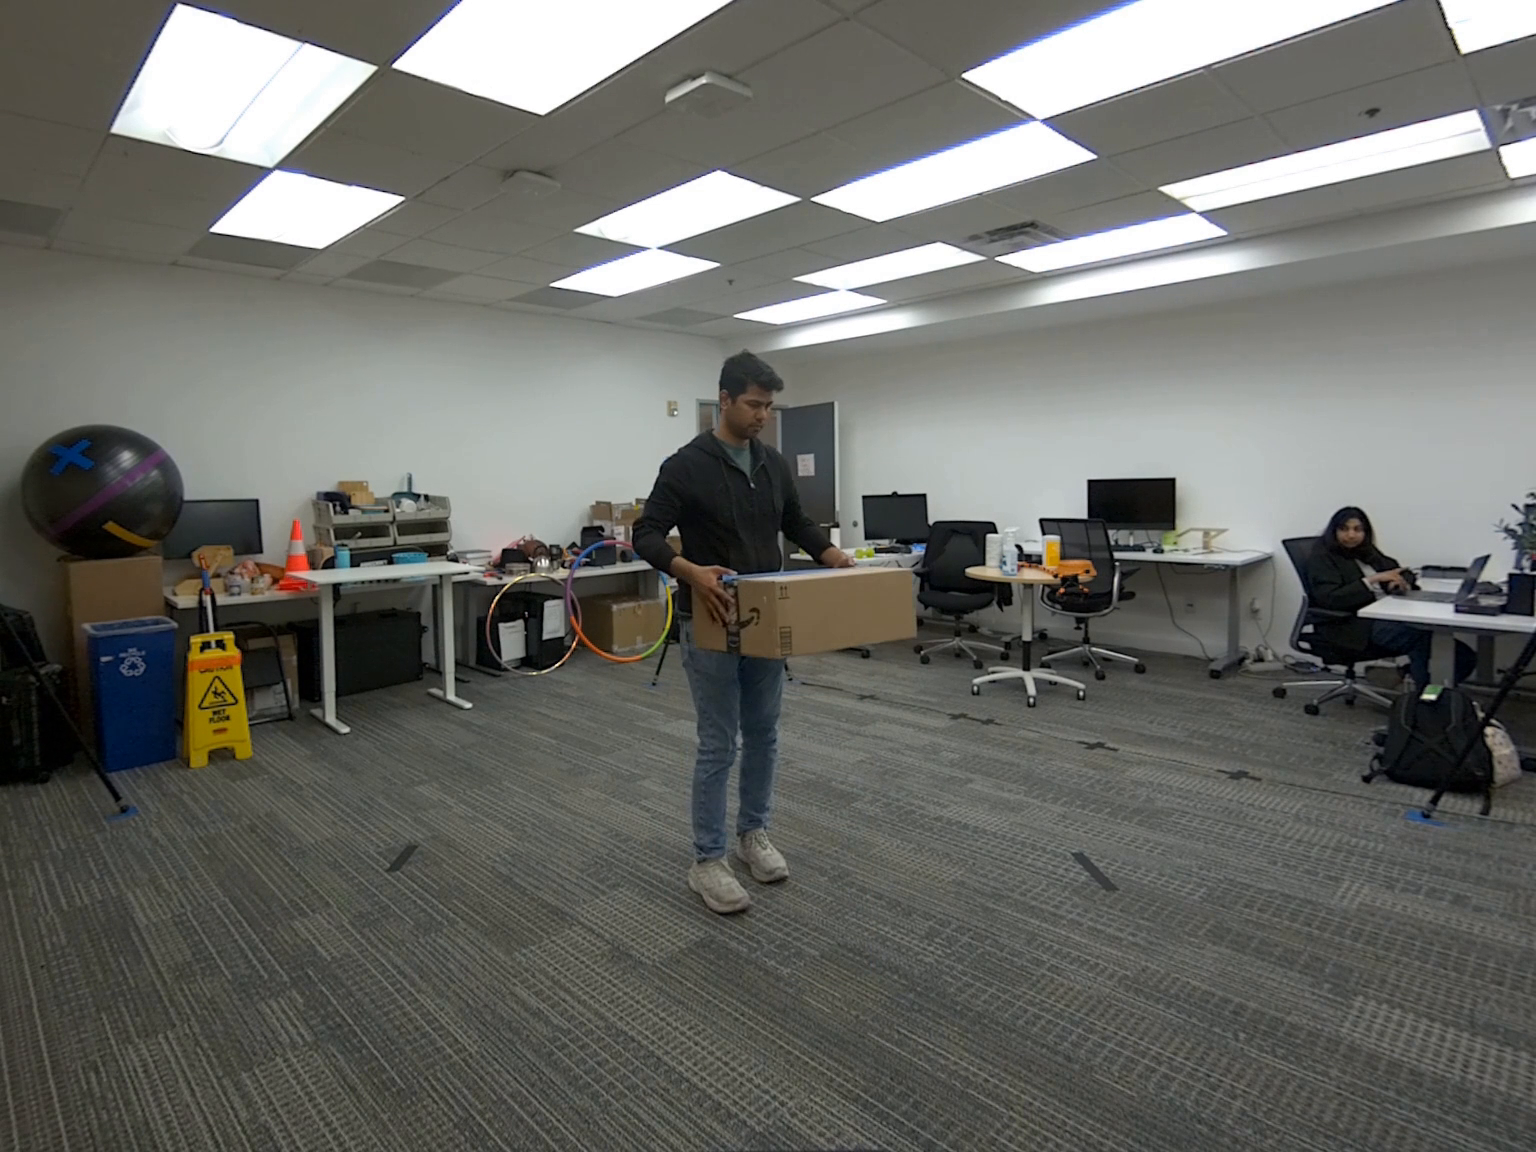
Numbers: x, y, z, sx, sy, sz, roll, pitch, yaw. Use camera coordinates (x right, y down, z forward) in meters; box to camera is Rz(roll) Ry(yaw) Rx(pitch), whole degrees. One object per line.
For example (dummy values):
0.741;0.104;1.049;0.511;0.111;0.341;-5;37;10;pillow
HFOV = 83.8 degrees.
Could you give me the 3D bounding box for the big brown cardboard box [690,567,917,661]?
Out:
0.107;0.096;2.654;0.573;0.233;0.429;-3;2;-37;big brown cardboard box
